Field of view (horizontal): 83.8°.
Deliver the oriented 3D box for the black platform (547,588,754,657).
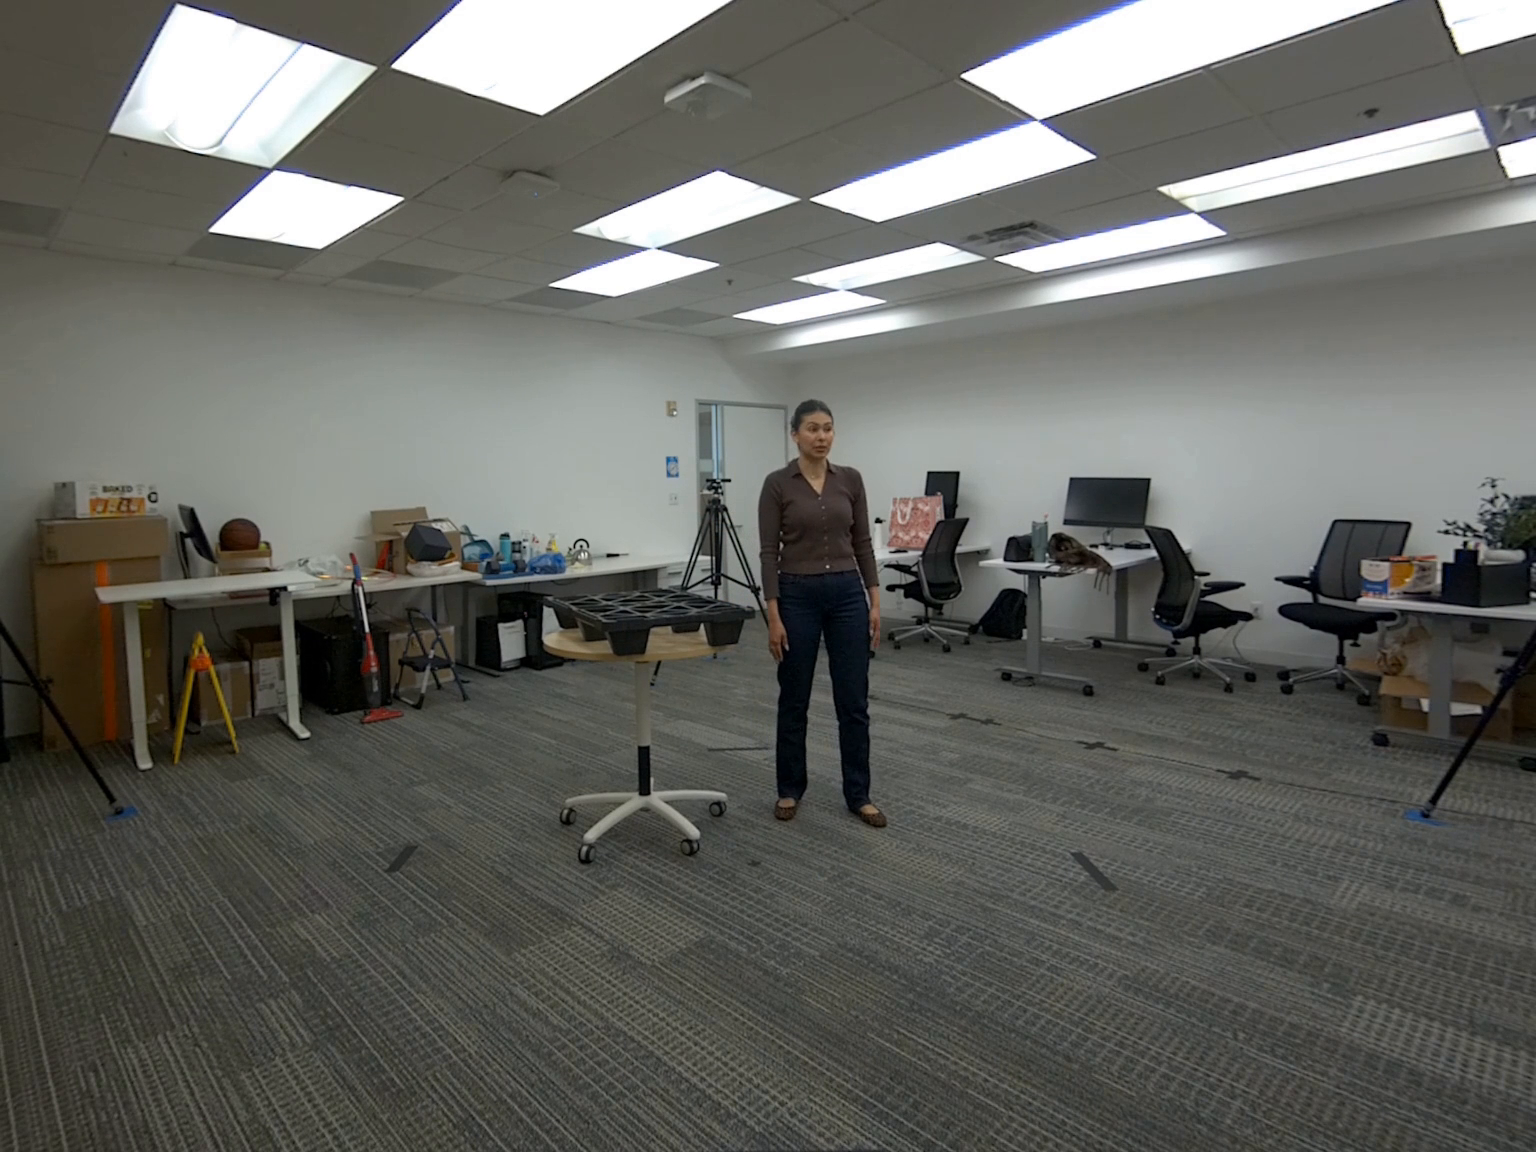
[{"bbox_3d":[-0.502,0.173,3.392,0.591,0.143,0.827,-3,6,-28],"label":"black platform"}]
